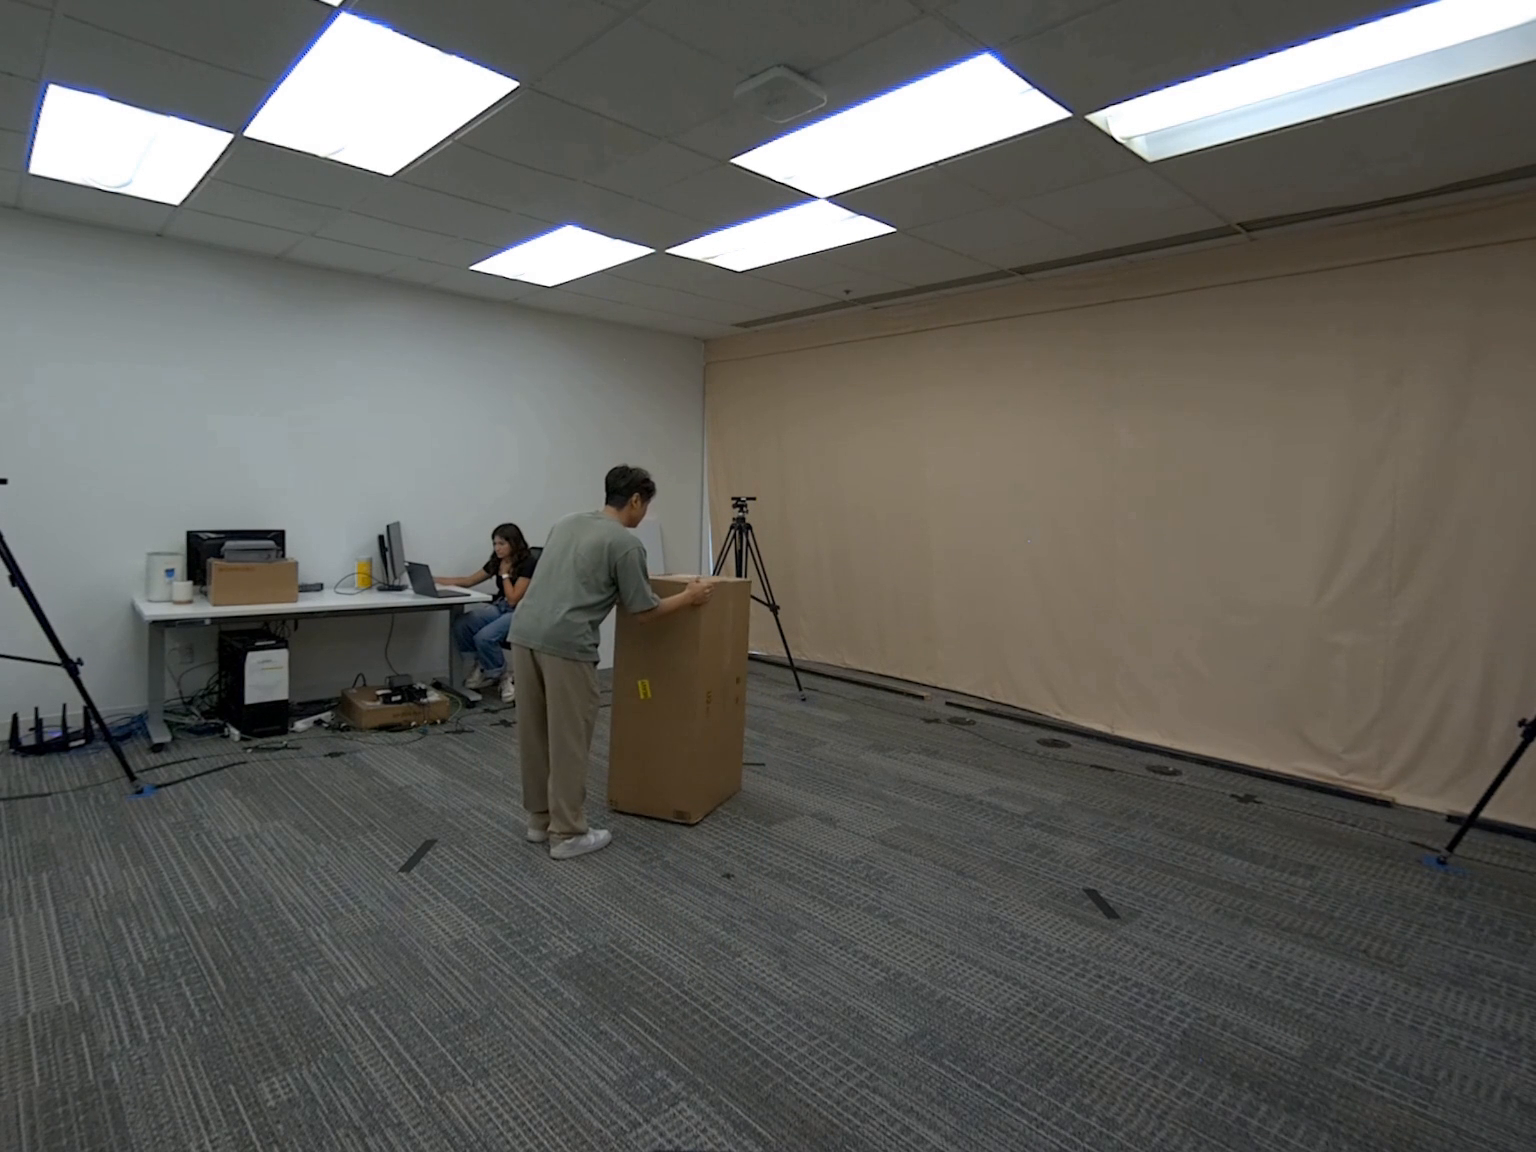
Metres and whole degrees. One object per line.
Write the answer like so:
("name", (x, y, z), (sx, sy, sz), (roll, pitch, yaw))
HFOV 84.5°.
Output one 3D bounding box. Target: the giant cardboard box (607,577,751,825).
("giant cardboard box", (-0.400, 0.519, 3.889), (0.434, 1.025, 0.568), (4, 2, 21))
